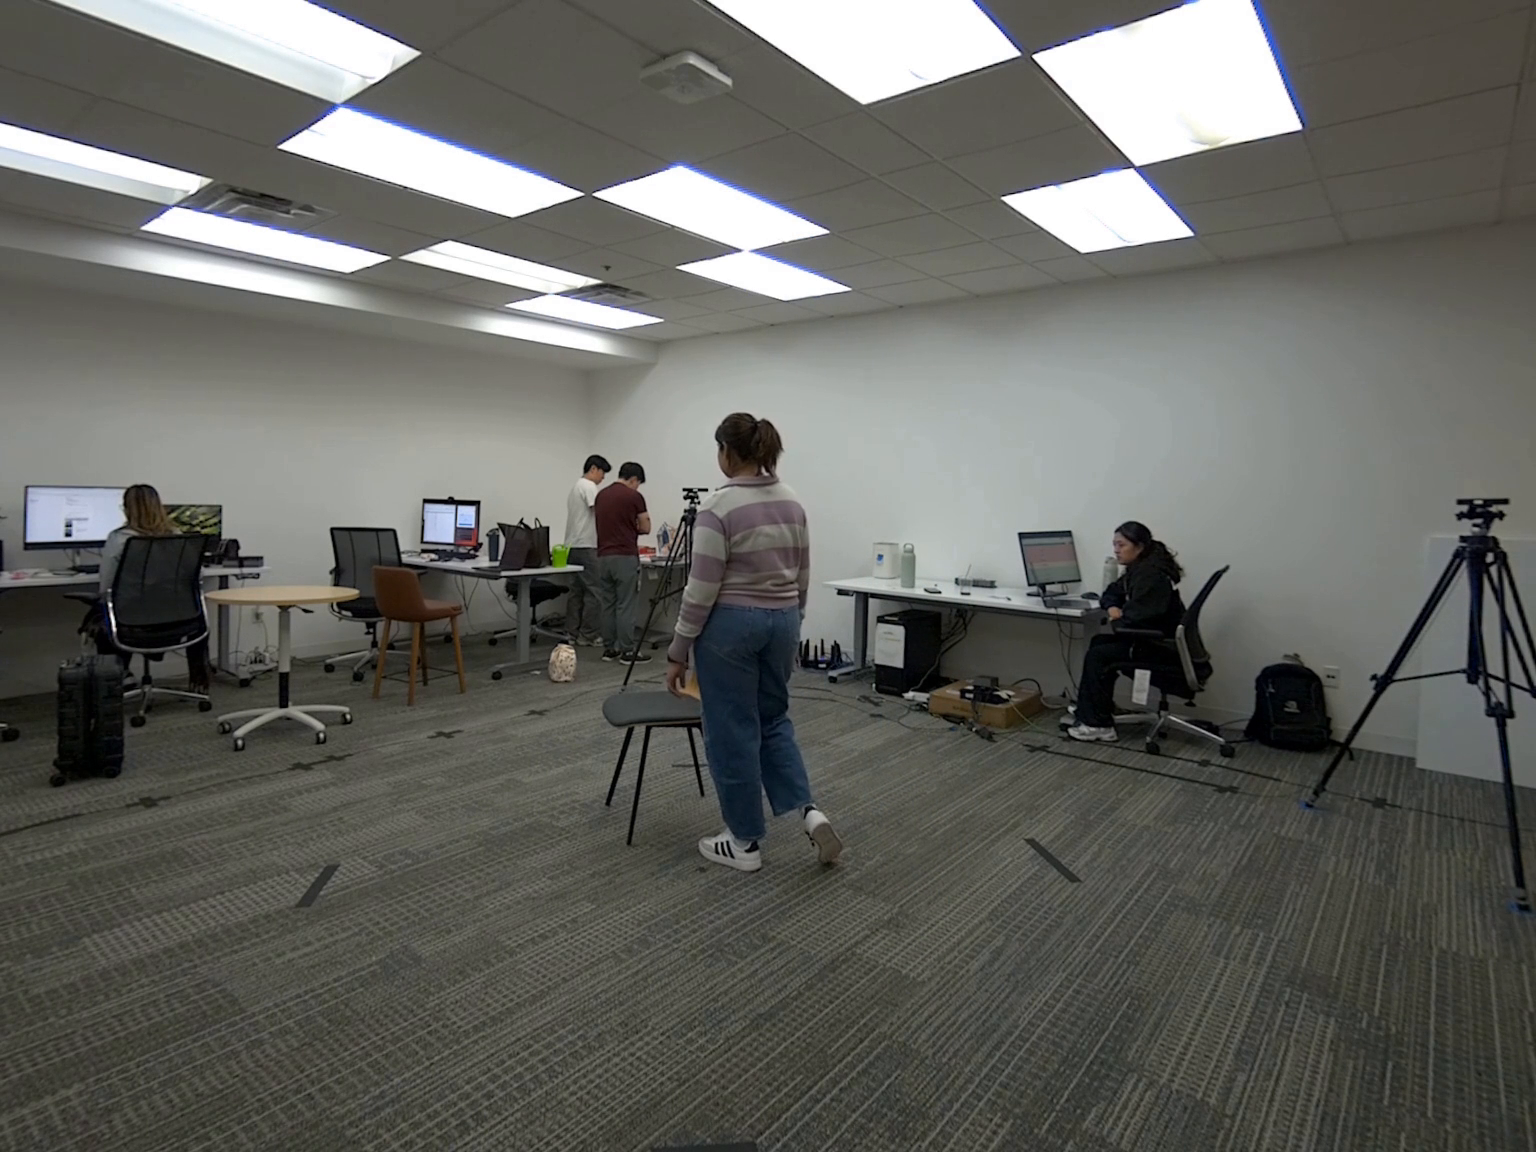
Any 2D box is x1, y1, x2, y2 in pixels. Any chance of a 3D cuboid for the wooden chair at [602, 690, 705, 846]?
[{"bbox_3d":[-0.436,0.598,3.555,0.512,0.875,0.489,4,3,-21],"label":"wooden chair"}]
